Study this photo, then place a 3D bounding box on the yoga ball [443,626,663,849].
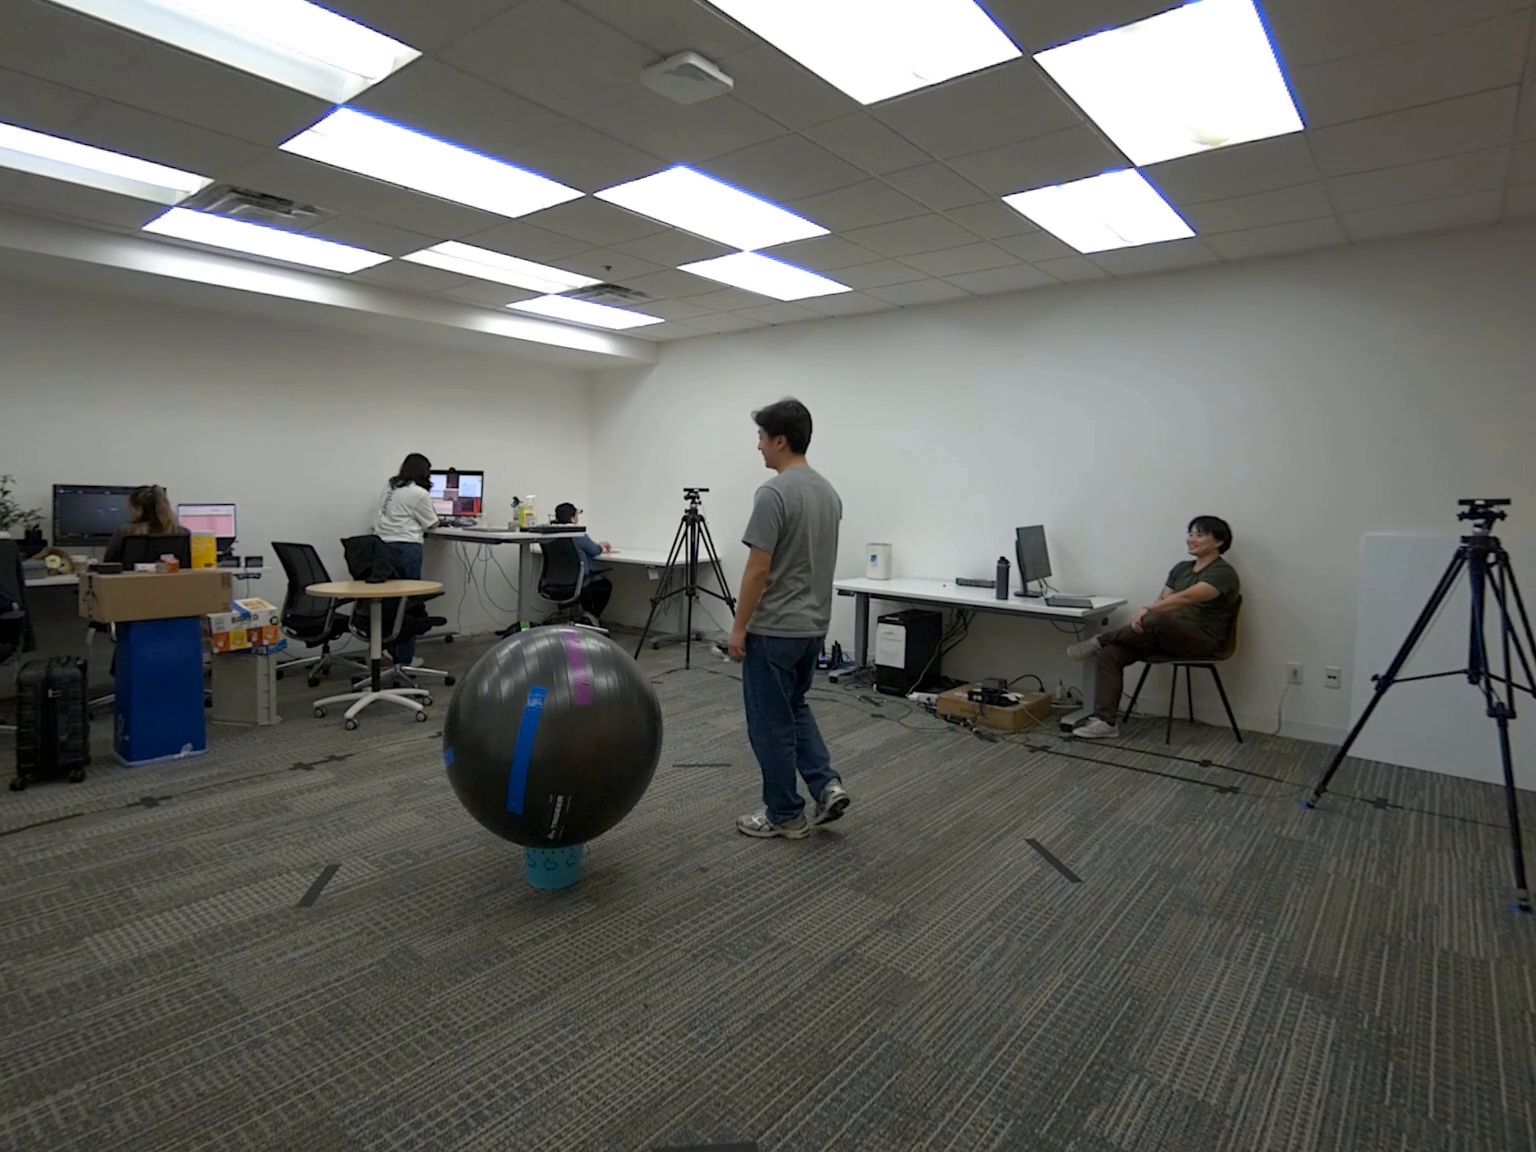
[{"bbox_3d":[-0.769,0.559,3.002,0.757,0.756,0.761,1,4,-2],"label":"yoga ball"}]
